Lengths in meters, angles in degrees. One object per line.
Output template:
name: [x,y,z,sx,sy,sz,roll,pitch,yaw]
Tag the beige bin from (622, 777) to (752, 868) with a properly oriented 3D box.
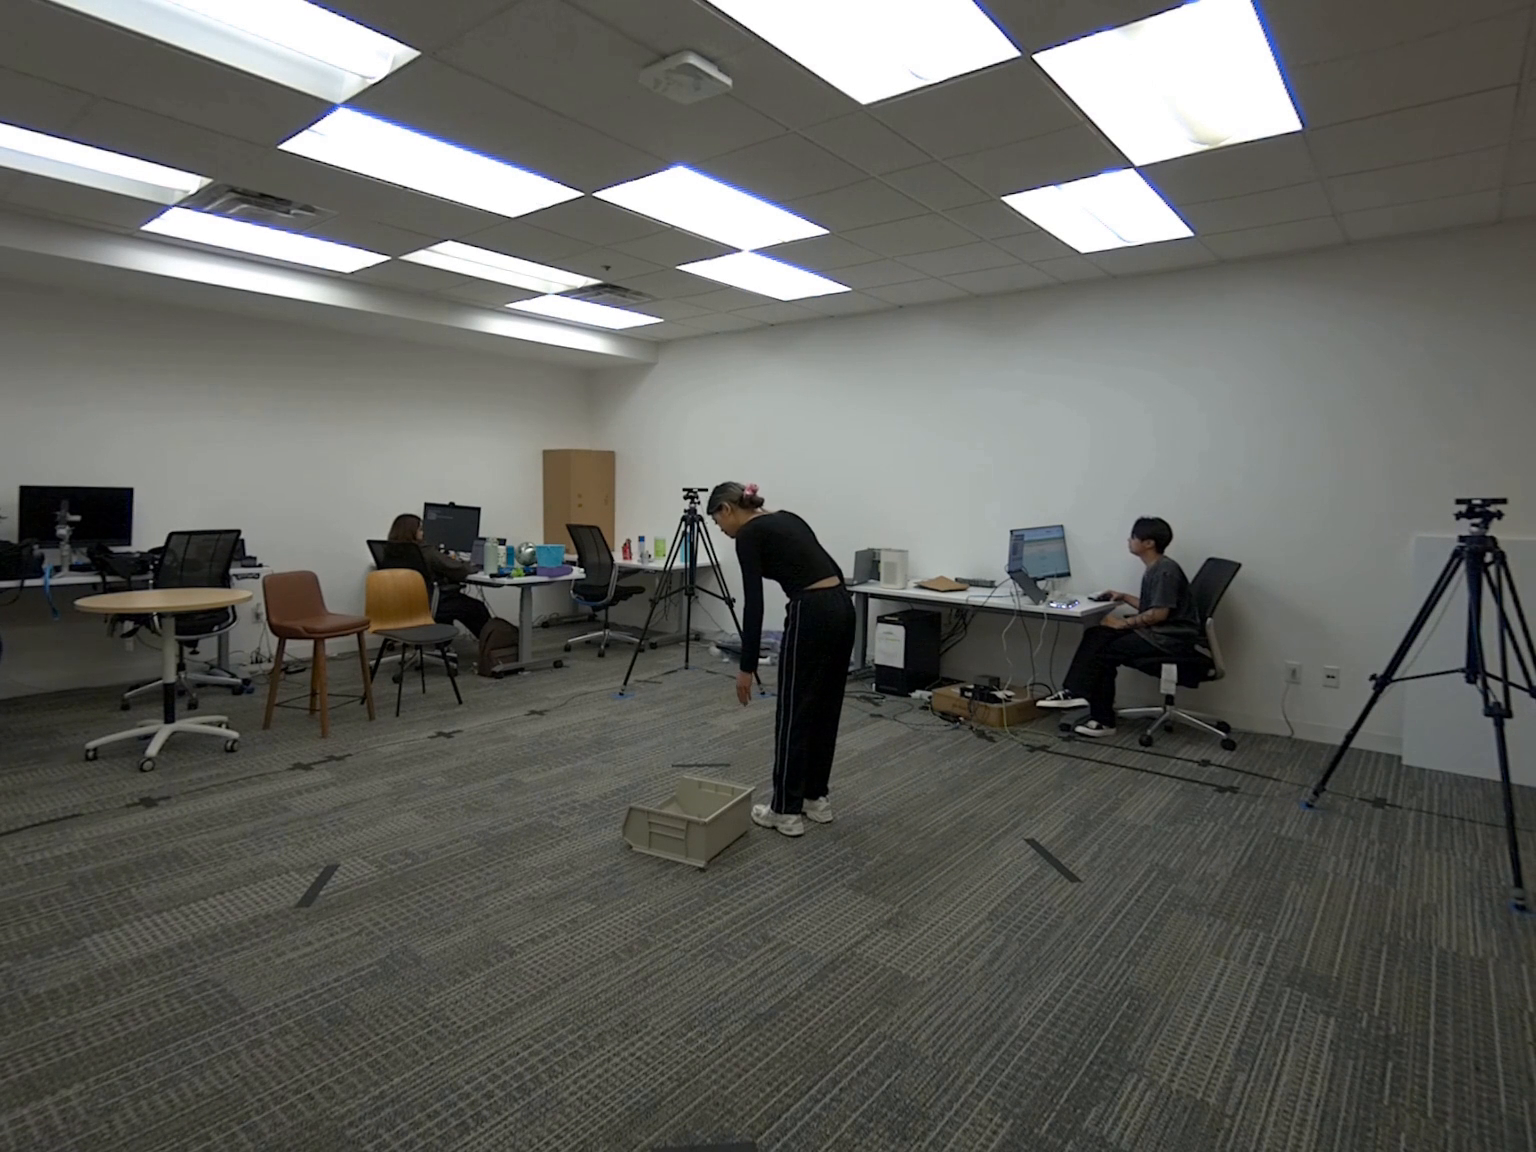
beige bin: [-0.319,0.957,3.375,0.388,0.188,0.412,4,5,26]
